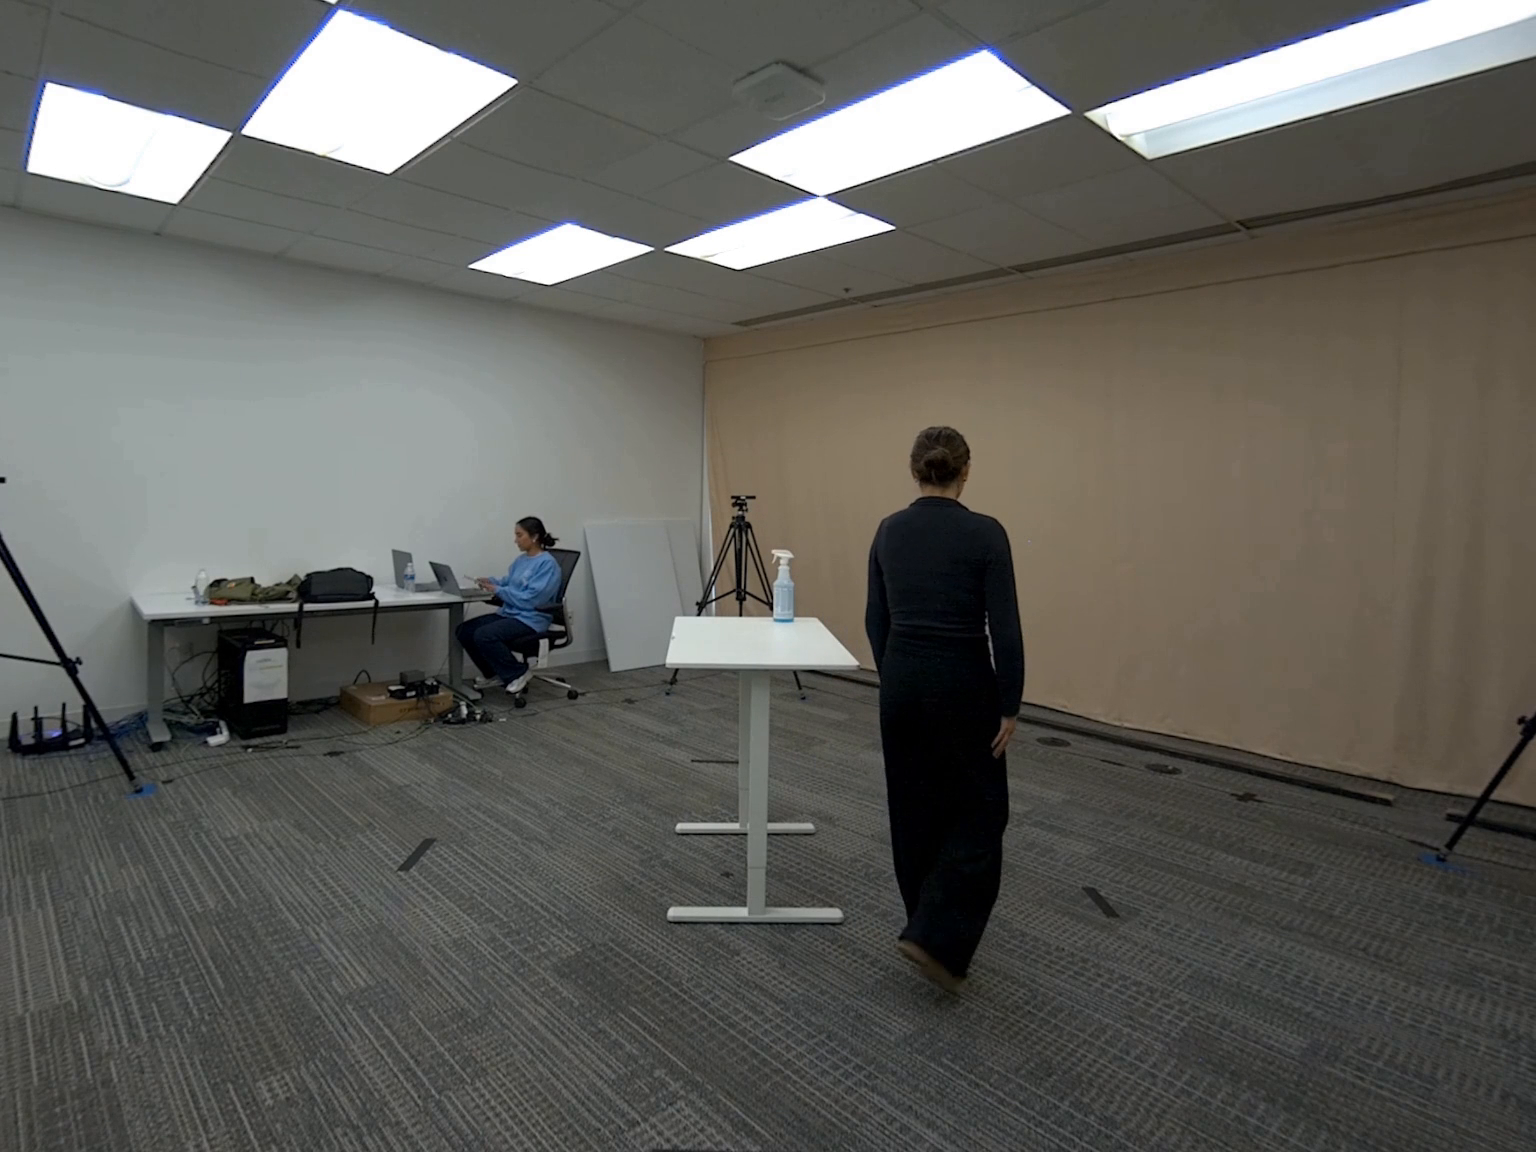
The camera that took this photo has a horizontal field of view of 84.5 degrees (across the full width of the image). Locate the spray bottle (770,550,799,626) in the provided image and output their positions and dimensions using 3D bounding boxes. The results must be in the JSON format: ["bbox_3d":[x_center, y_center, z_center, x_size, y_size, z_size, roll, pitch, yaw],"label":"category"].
[{"bbox_3d":[0.065,0.045,3.484,0.091,0.297,0.086,2,3,20],"label":"spray bottle"}]
